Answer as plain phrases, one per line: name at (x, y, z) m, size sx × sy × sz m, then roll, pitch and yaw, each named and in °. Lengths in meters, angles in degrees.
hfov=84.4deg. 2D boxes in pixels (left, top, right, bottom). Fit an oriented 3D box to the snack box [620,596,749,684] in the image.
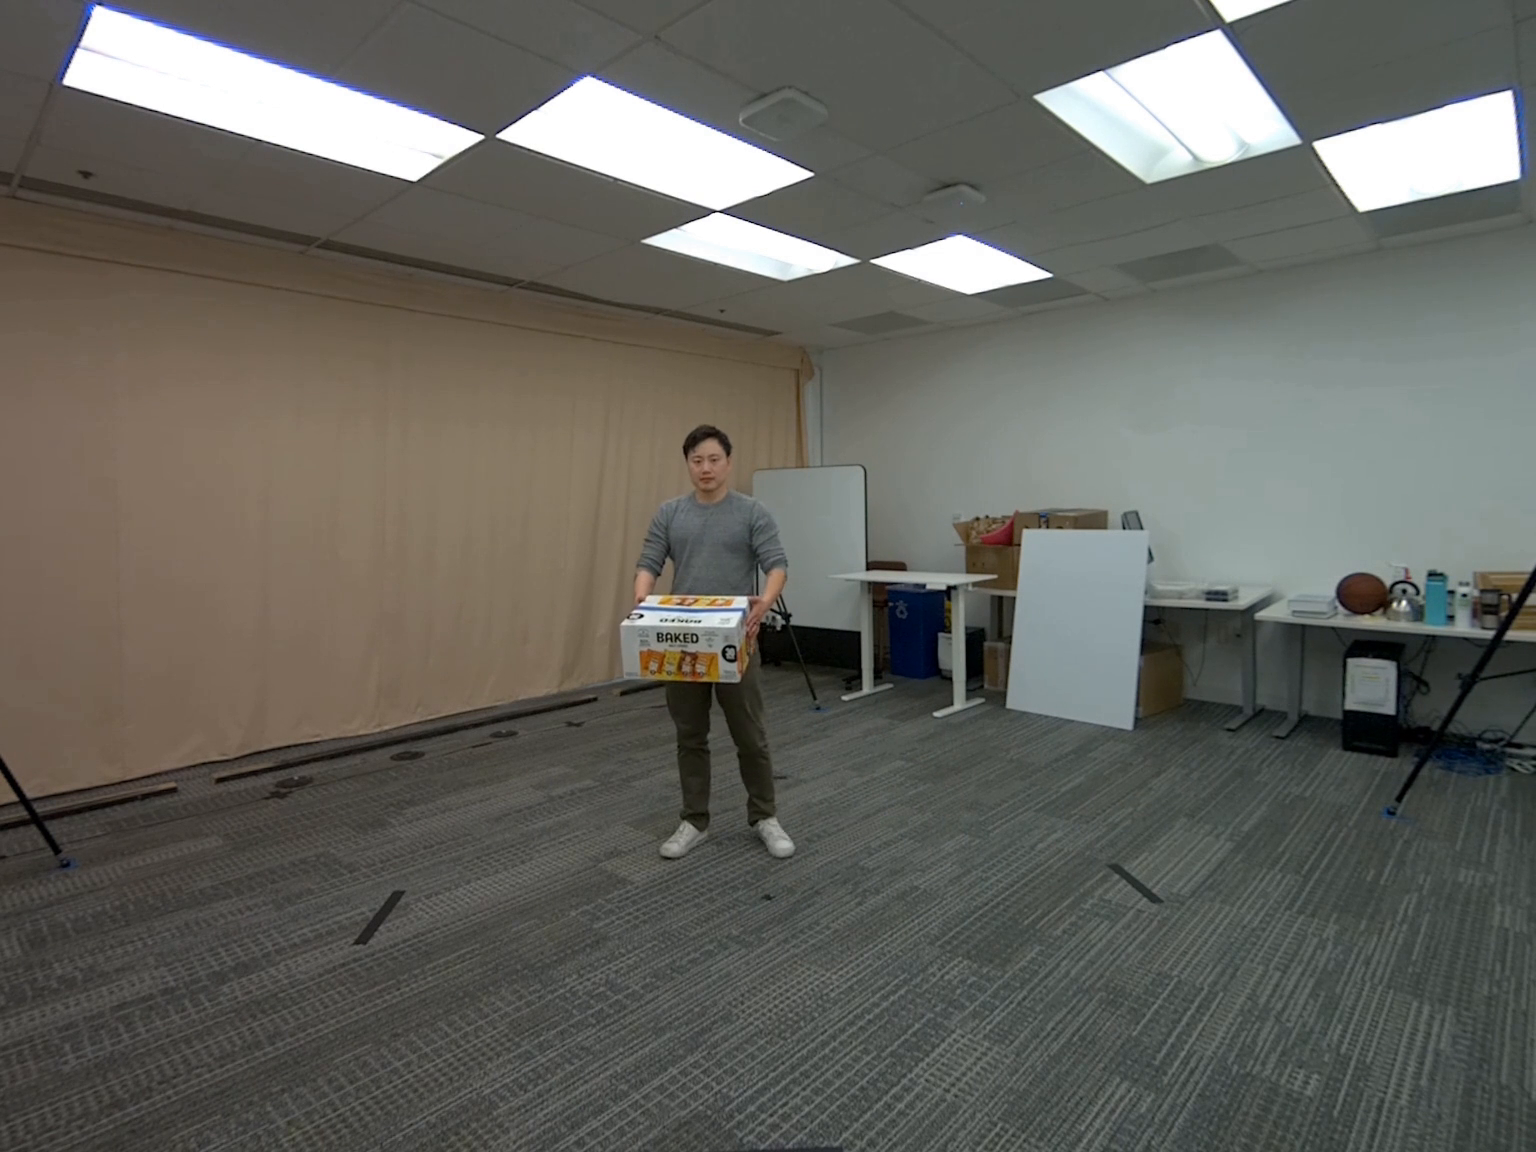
snack box at (-0.276, 0.221, 3.006) m, size 0.410 × 0.204 × 0.339 m, roll 1°, pitch 15°, yaw 10°
